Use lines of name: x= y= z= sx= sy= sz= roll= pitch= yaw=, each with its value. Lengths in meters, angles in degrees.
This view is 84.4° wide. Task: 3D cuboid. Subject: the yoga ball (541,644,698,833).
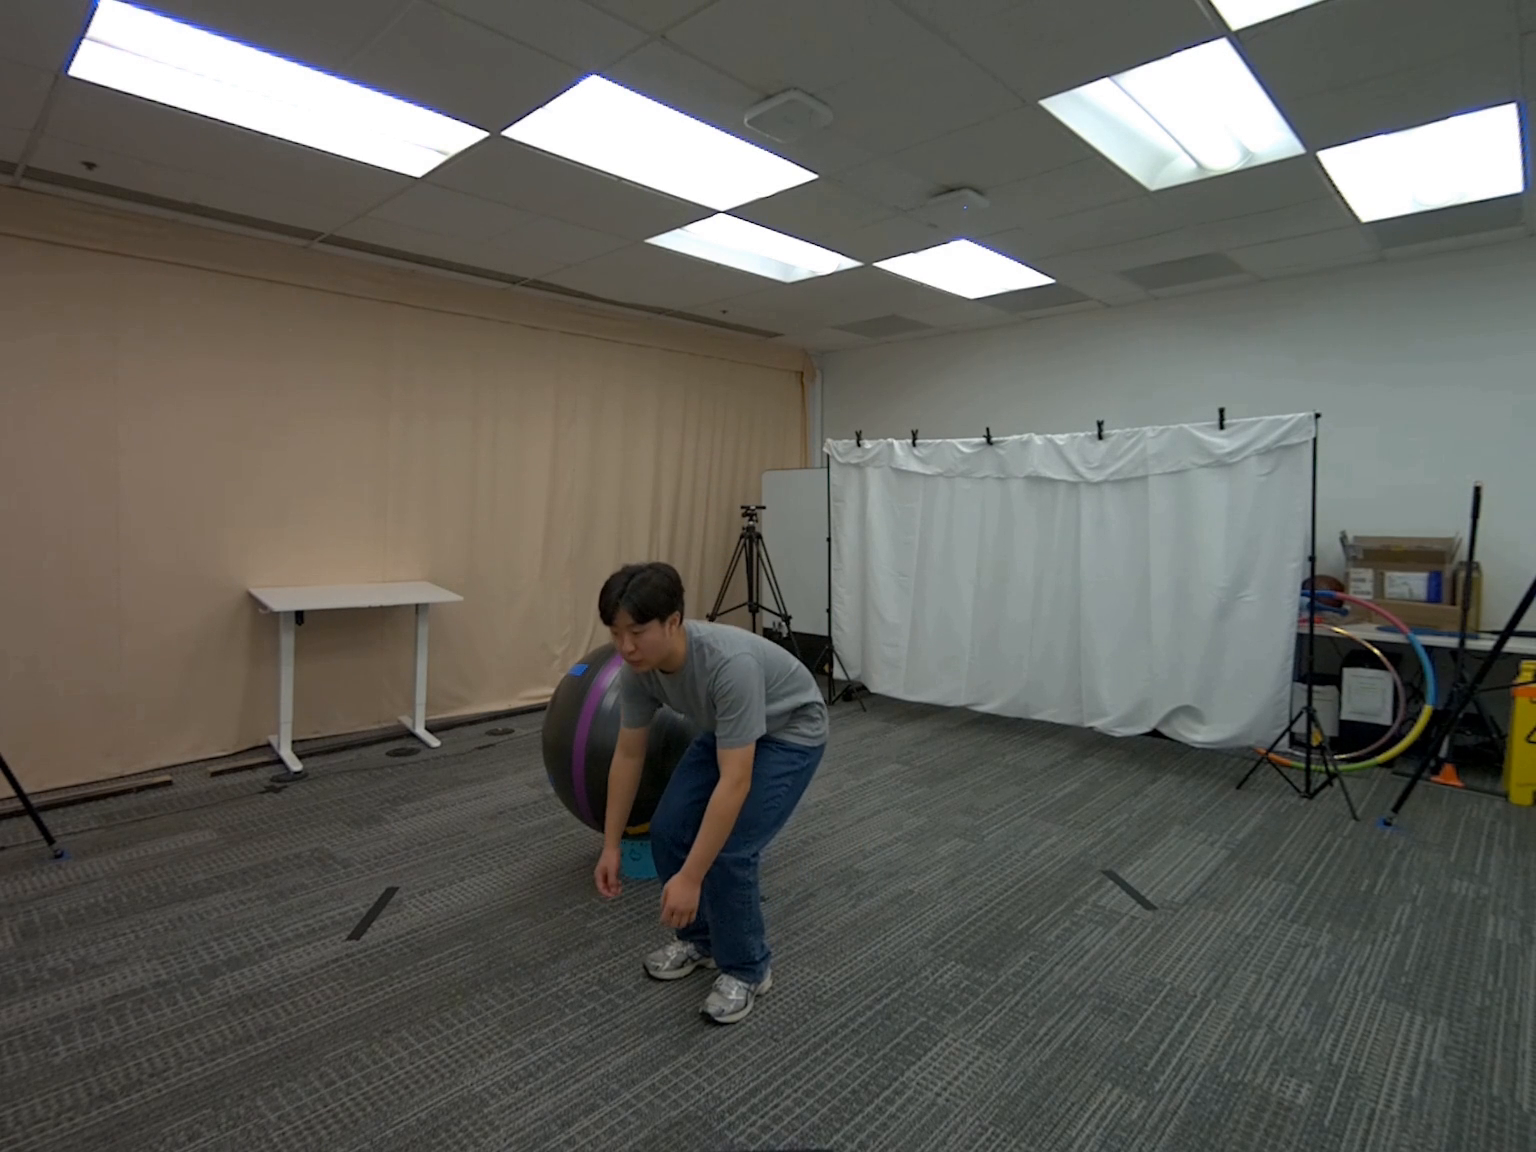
yoga ball: x=-0.481 y=0.614 z=3.226 sx=0.757 sy=0.756 sz=0.760 roll=0 pitch=4 yaw=-2
